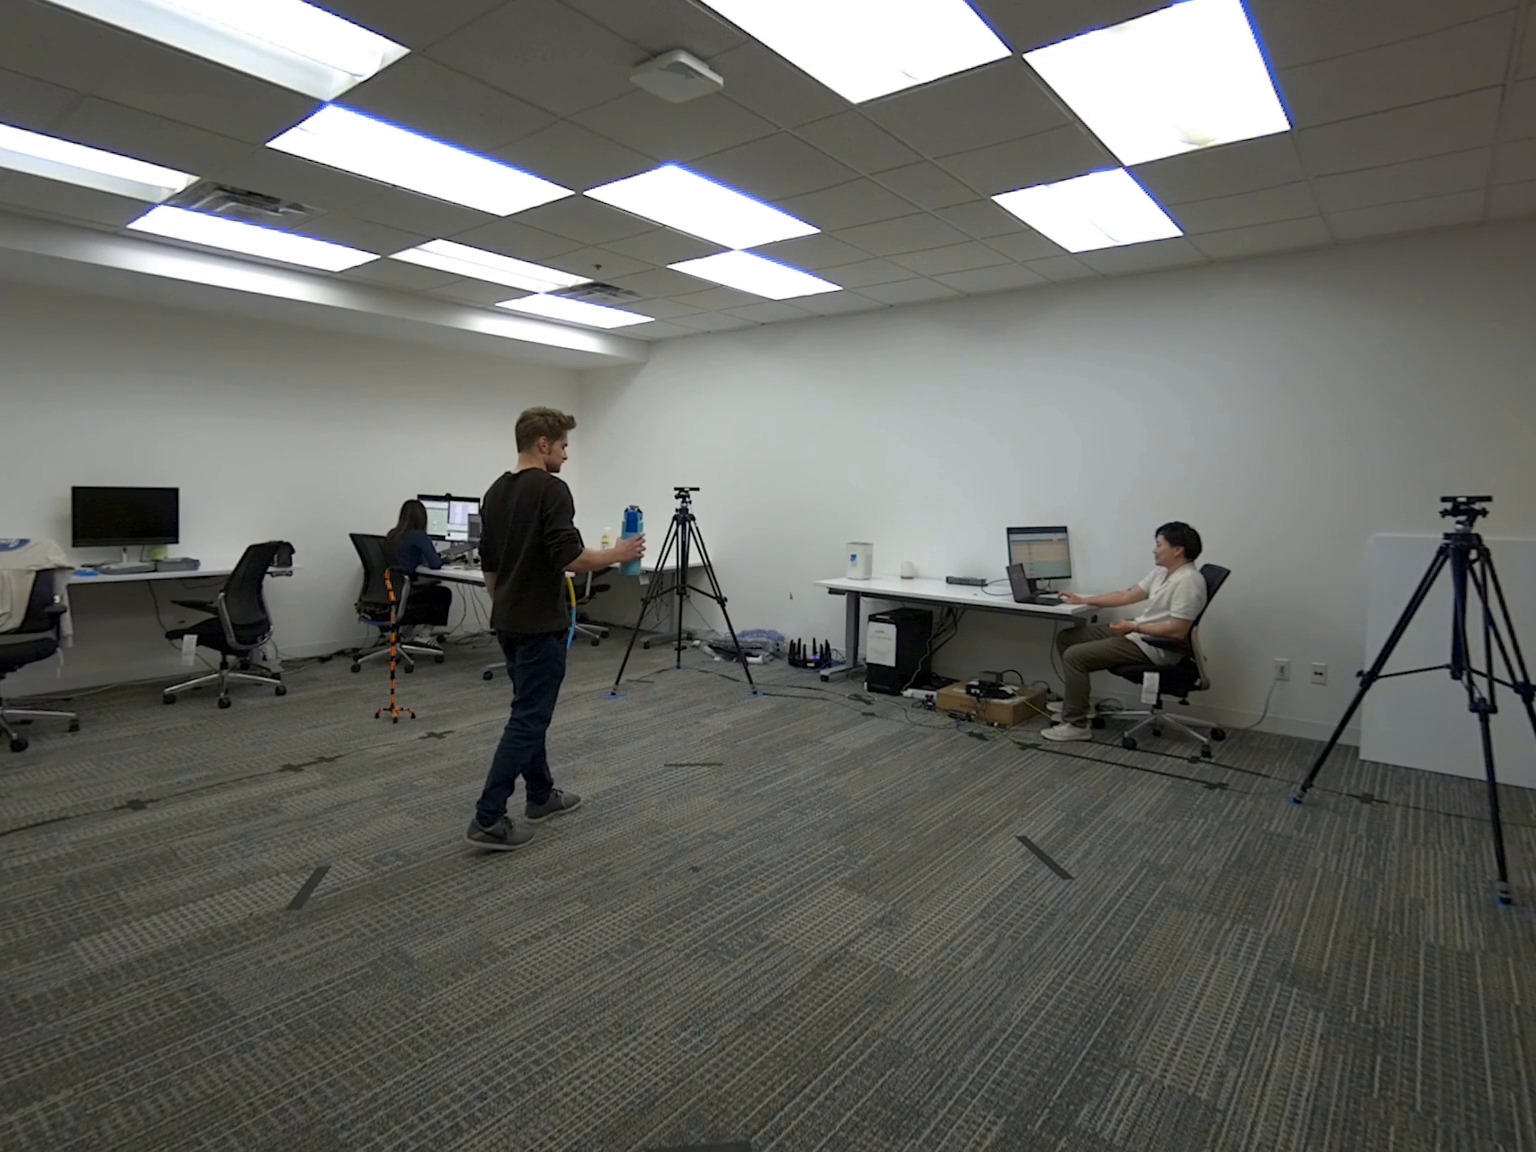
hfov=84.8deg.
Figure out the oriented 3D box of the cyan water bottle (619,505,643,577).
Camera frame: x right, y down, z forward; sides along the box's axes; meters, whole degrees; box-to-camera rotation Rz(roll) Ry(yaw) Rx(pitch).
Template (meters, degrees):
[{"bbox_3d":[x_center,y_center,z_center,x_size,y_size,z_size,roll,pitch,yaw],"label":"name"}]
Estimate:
[{"bbox_3d":[-0.581,-0.152,3.501,0.092,0.282,0.093,6,6,-3],"label":"cyan water bottle"}]
